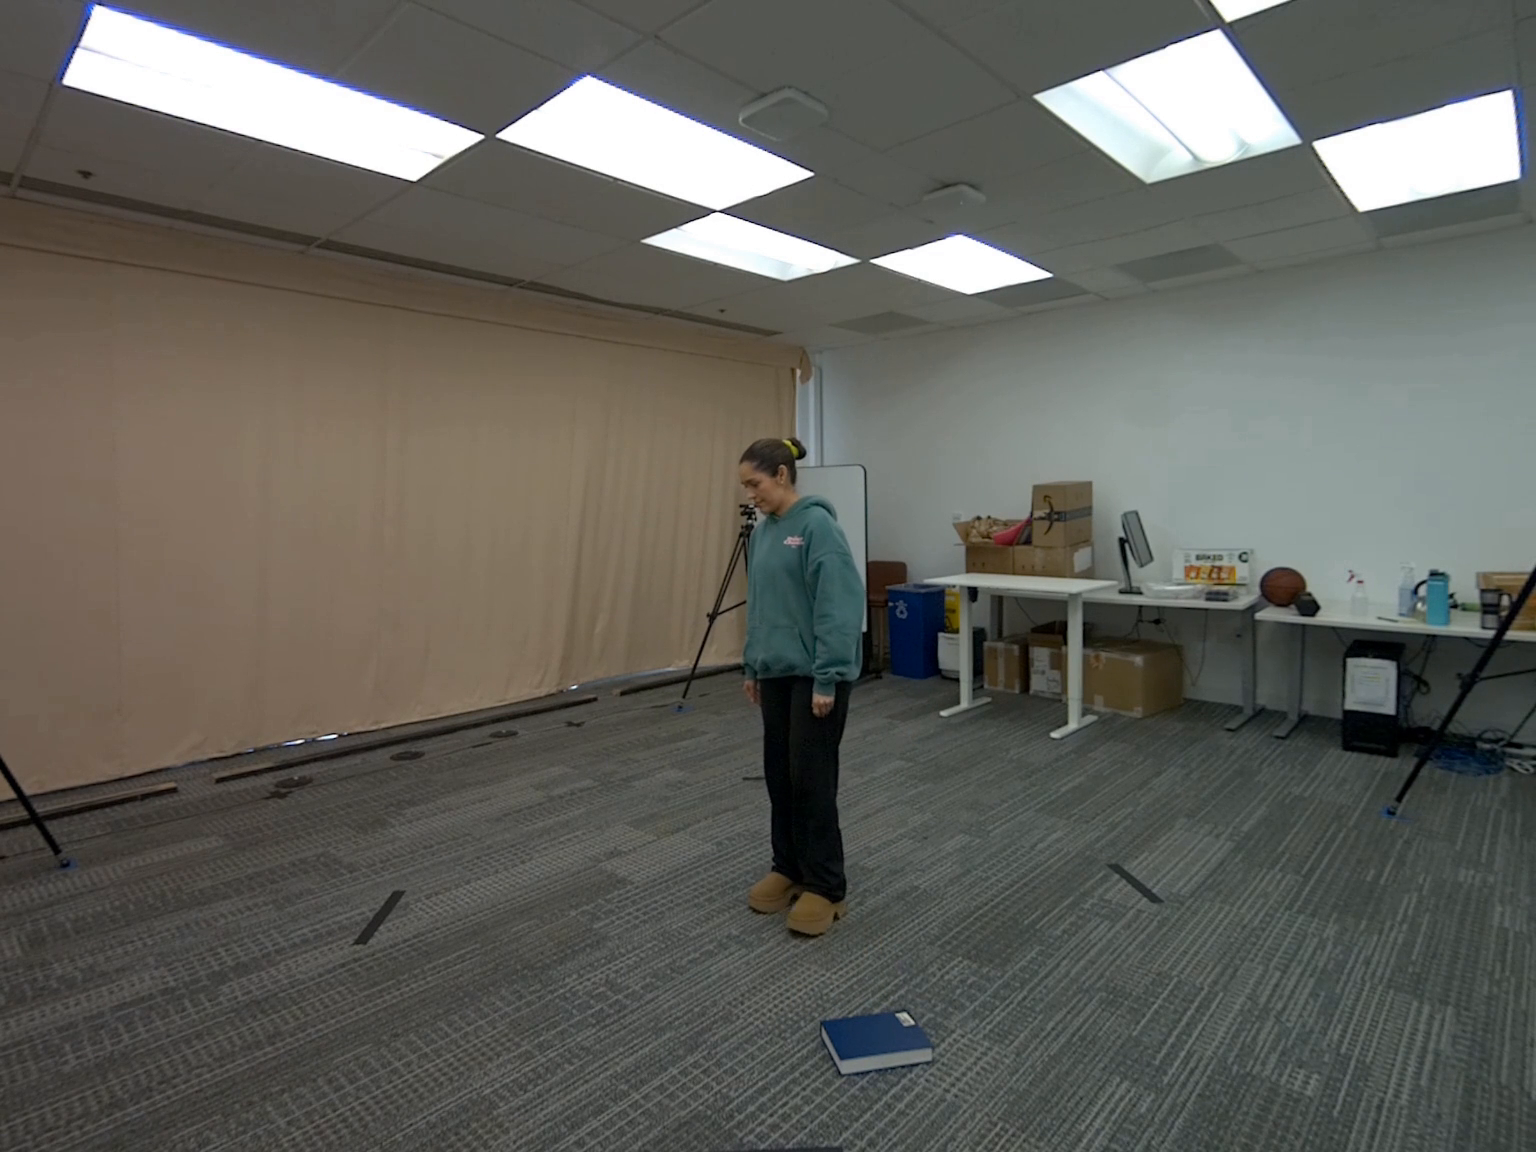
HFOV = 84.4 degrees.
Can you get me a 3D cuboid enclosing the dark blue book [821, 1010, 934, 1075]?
[{"bbox_3d":[0.280,1.180,2.145,0.242,0.045,0.166,-2,5,-12],"label":"dark blue book"}]
